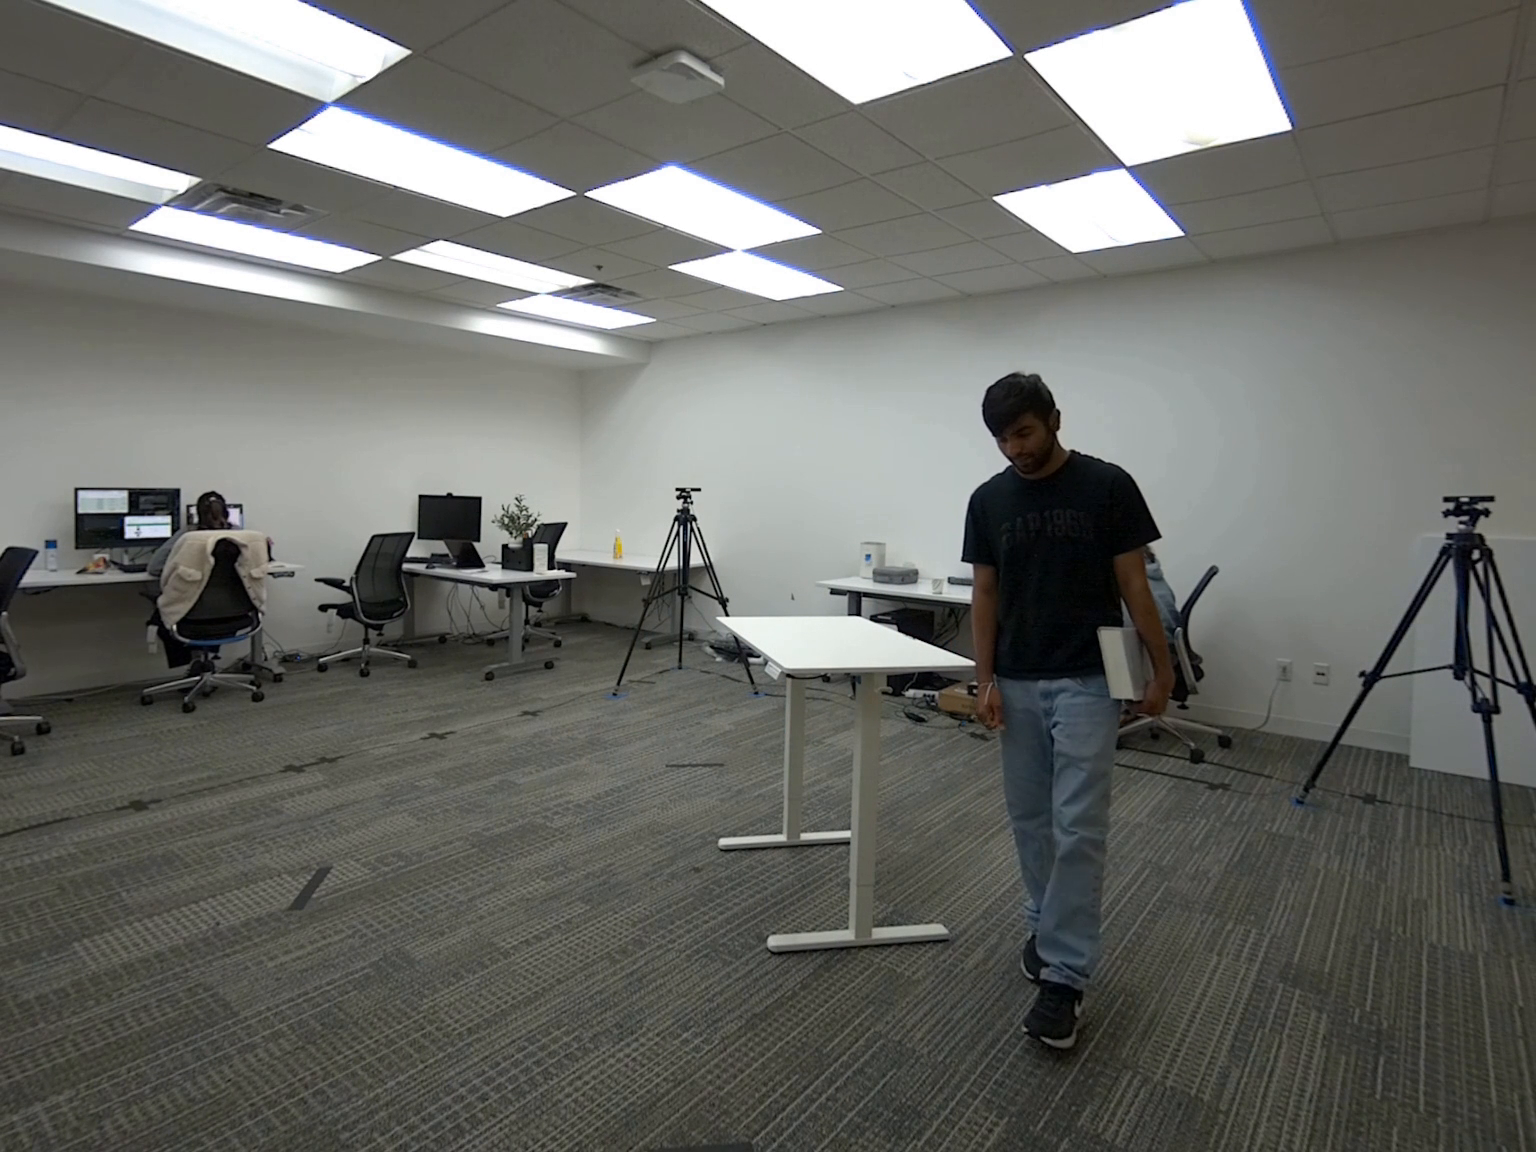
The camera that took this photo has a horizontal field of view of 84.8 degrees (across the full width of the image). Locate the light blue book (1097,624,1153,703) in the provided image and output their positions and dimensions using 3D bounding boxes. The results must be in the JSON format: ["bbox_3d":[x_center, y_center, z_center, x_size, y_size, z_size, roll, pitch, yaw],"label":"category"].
[{"bbox_3d":[0.979,0.230,2.293,0.060,0.193,0.252,-15,-13,41],"label":"light blue book"}]
